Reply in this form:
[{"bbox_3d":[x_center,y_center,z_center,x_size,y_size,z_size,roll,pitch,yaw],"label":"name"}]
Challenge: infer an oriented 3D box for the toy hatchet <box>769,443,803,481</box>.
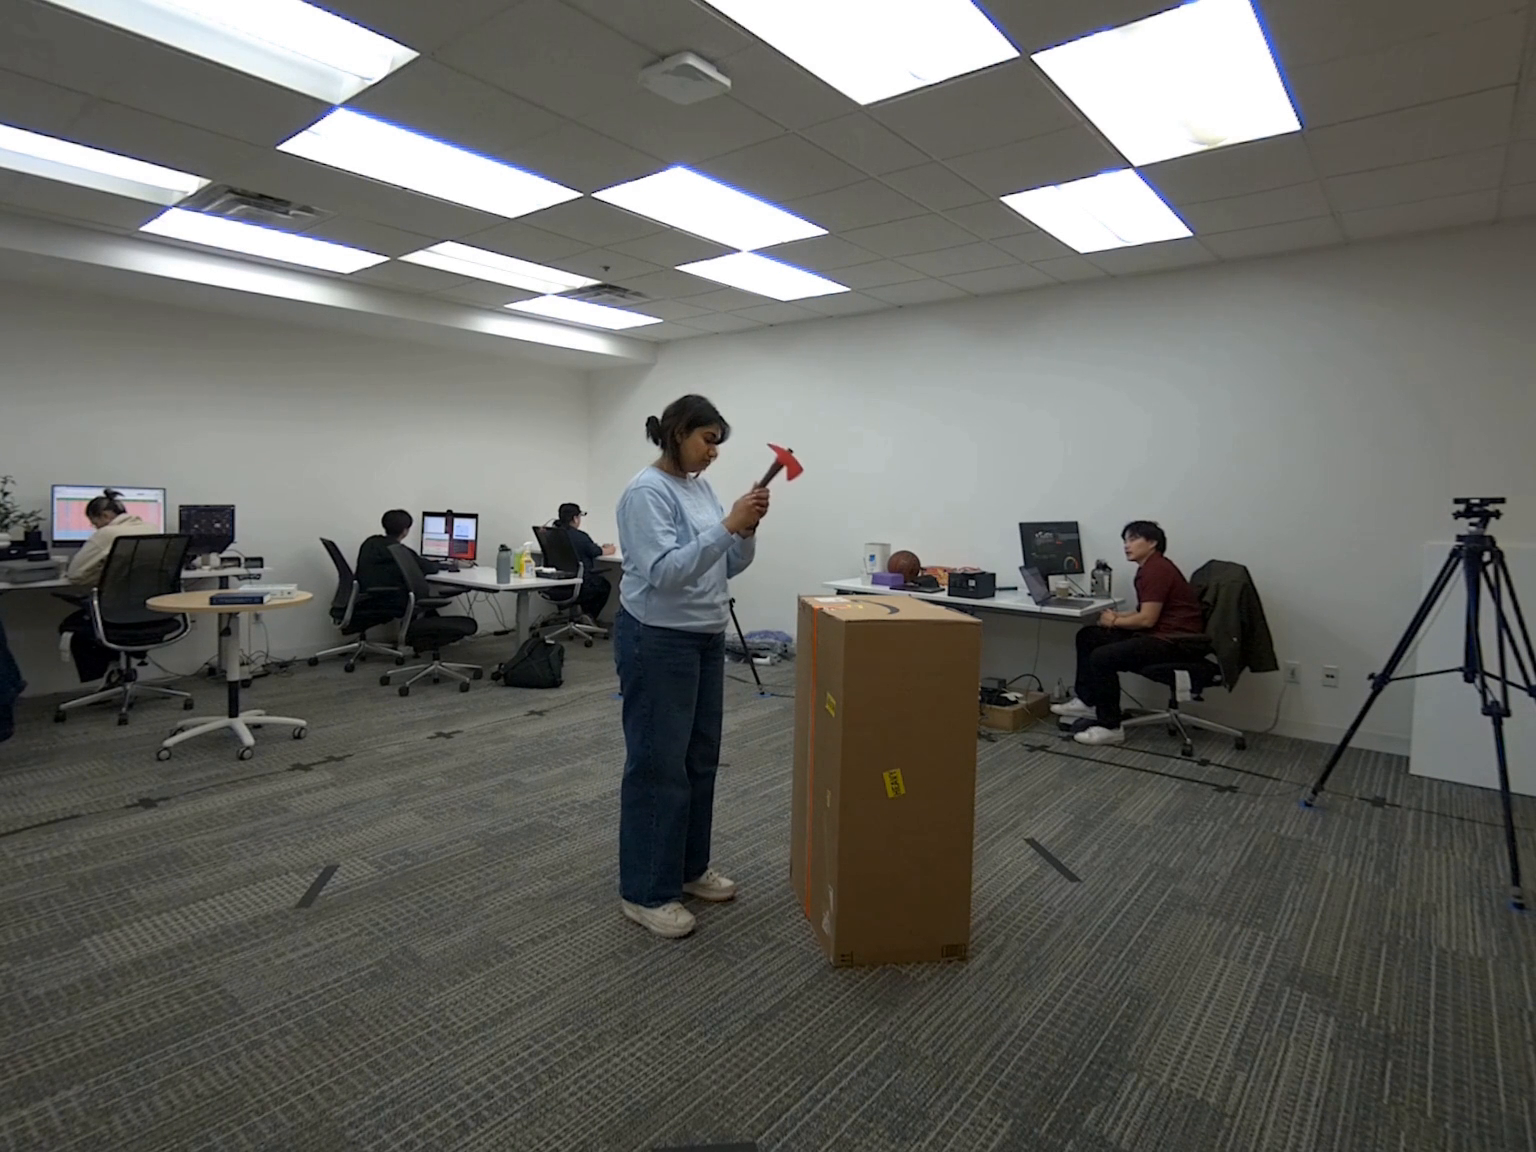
[{"bbox_3d":[-0.006,-0.258,2.577,0.130,0.269,0.030,22,4,-4],"label":"toy hatchet"}]
